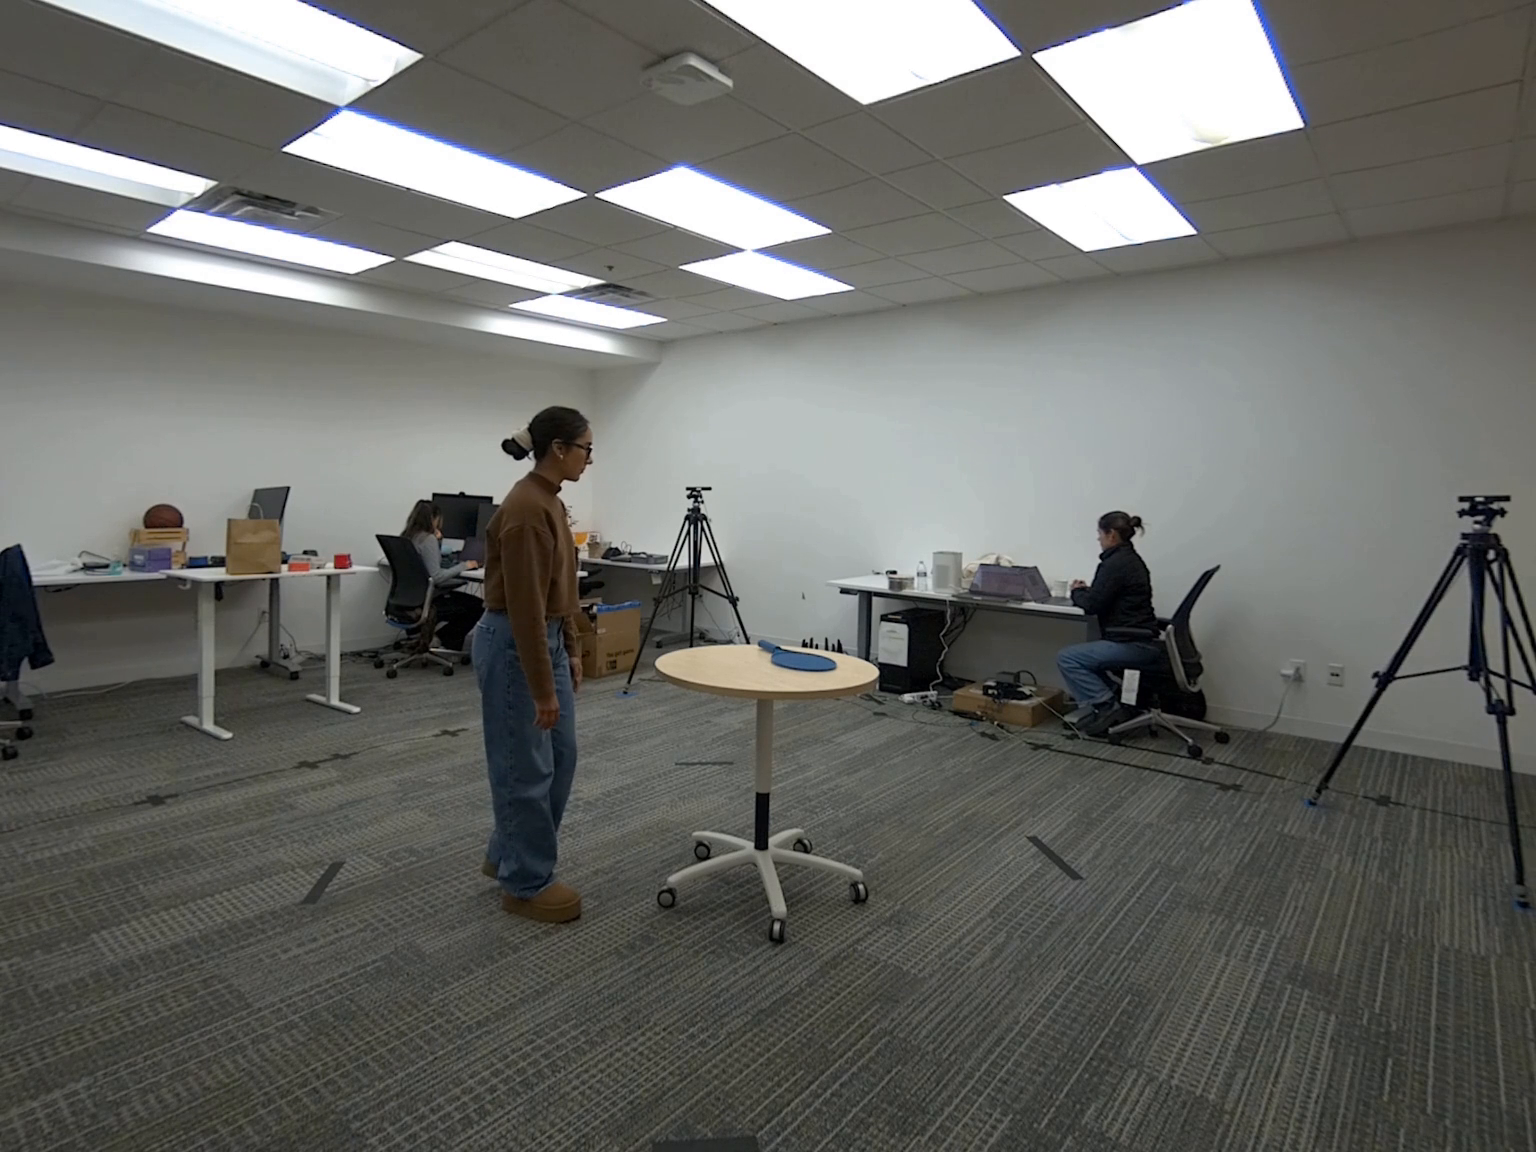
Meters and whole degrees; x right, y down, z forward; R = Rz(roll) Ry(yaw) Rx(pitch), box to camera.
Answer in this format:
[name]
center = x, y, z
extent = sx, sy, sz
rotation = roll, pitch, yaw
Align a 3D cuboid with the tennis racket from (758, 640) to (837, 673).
[tennis racket]
center = 0.072, 0.287, 3.034
extent = 0.208, 0.031, 0.447
rotation = -1, 8, -30
